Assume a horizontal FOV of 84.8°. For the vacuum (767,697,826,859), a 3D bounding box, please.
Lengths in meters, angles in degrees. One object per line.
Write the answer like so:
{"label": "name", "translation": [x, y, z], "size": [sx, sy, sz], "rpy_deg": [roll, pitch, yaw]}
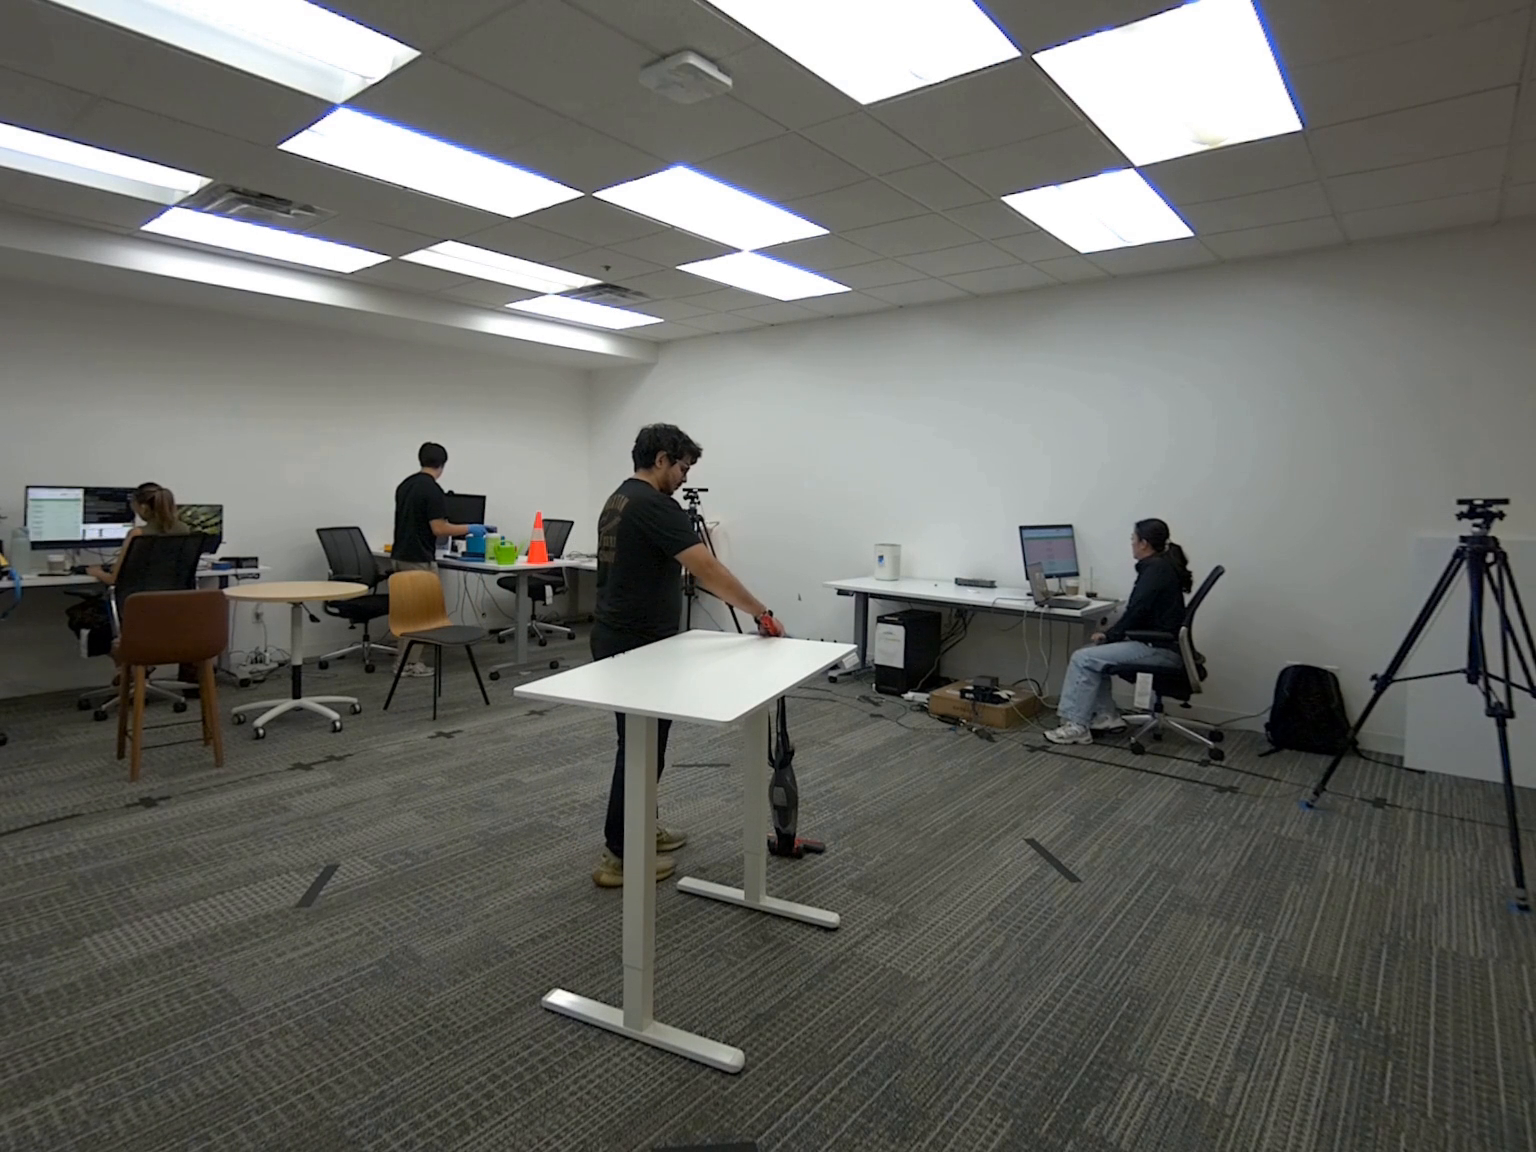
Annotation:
{"label": "vacuum", "translation": [0.036, 0.602, 3.082], "size": [0.258, 1.024, 0.144], "rpy_deg": [3, 26, 19]}
